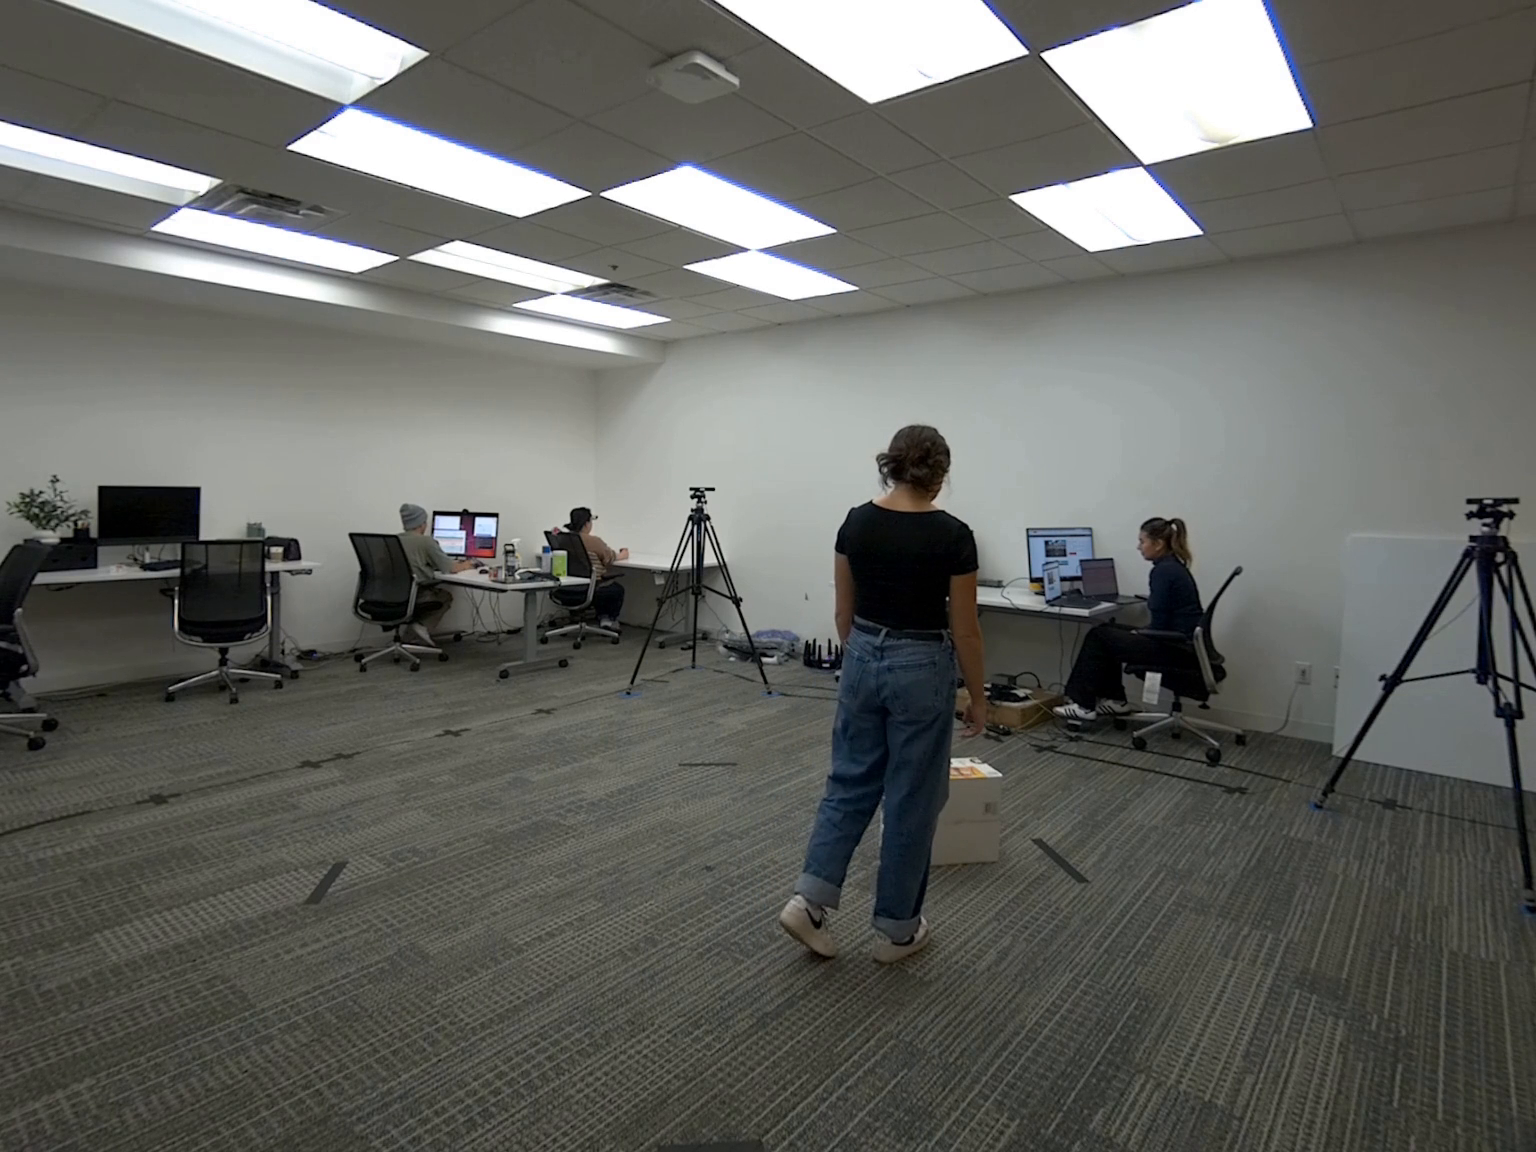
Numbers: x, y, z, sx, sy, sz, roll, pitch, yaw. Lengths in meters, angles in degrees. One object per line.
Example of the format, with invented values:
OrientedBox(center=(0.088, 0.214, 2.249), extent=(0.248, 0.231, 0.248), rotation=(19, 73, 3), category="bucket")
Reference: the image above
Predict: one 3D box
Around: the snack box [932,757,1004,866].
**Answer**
OrientedBox(center=(0.660, 0.900, 3.268), extent=(0.400, 0.339, 0.209), rotation=(0, 6, -12), category="snack box")
